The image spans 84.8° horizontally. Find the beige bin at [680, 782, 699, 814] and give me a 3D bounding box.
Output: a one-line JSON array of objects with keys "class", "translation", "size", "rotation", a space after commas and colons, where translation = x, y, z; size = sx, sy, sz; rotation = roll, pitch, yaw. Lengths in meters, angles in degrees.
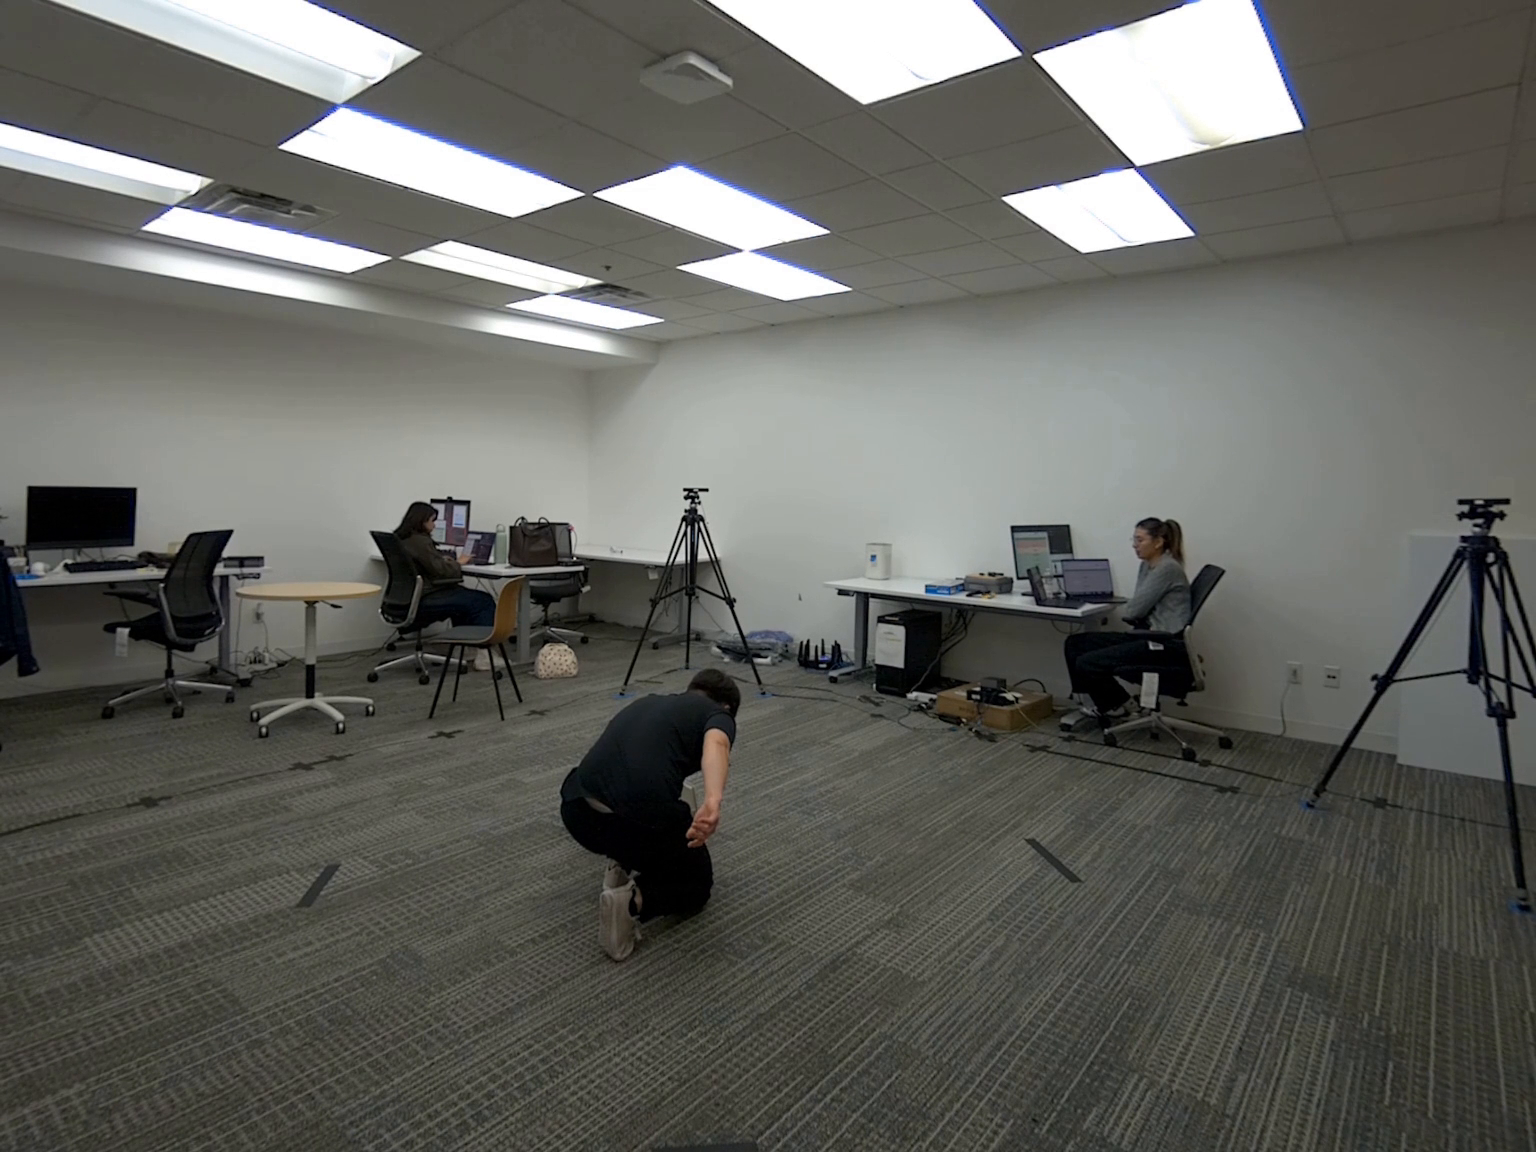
[{"class": "beige bin", "translation": [-0.568, 0.932, 3.479], "size": [0.410, 0.188, 0.390], "rotation": [-4, 6, -37]}]
